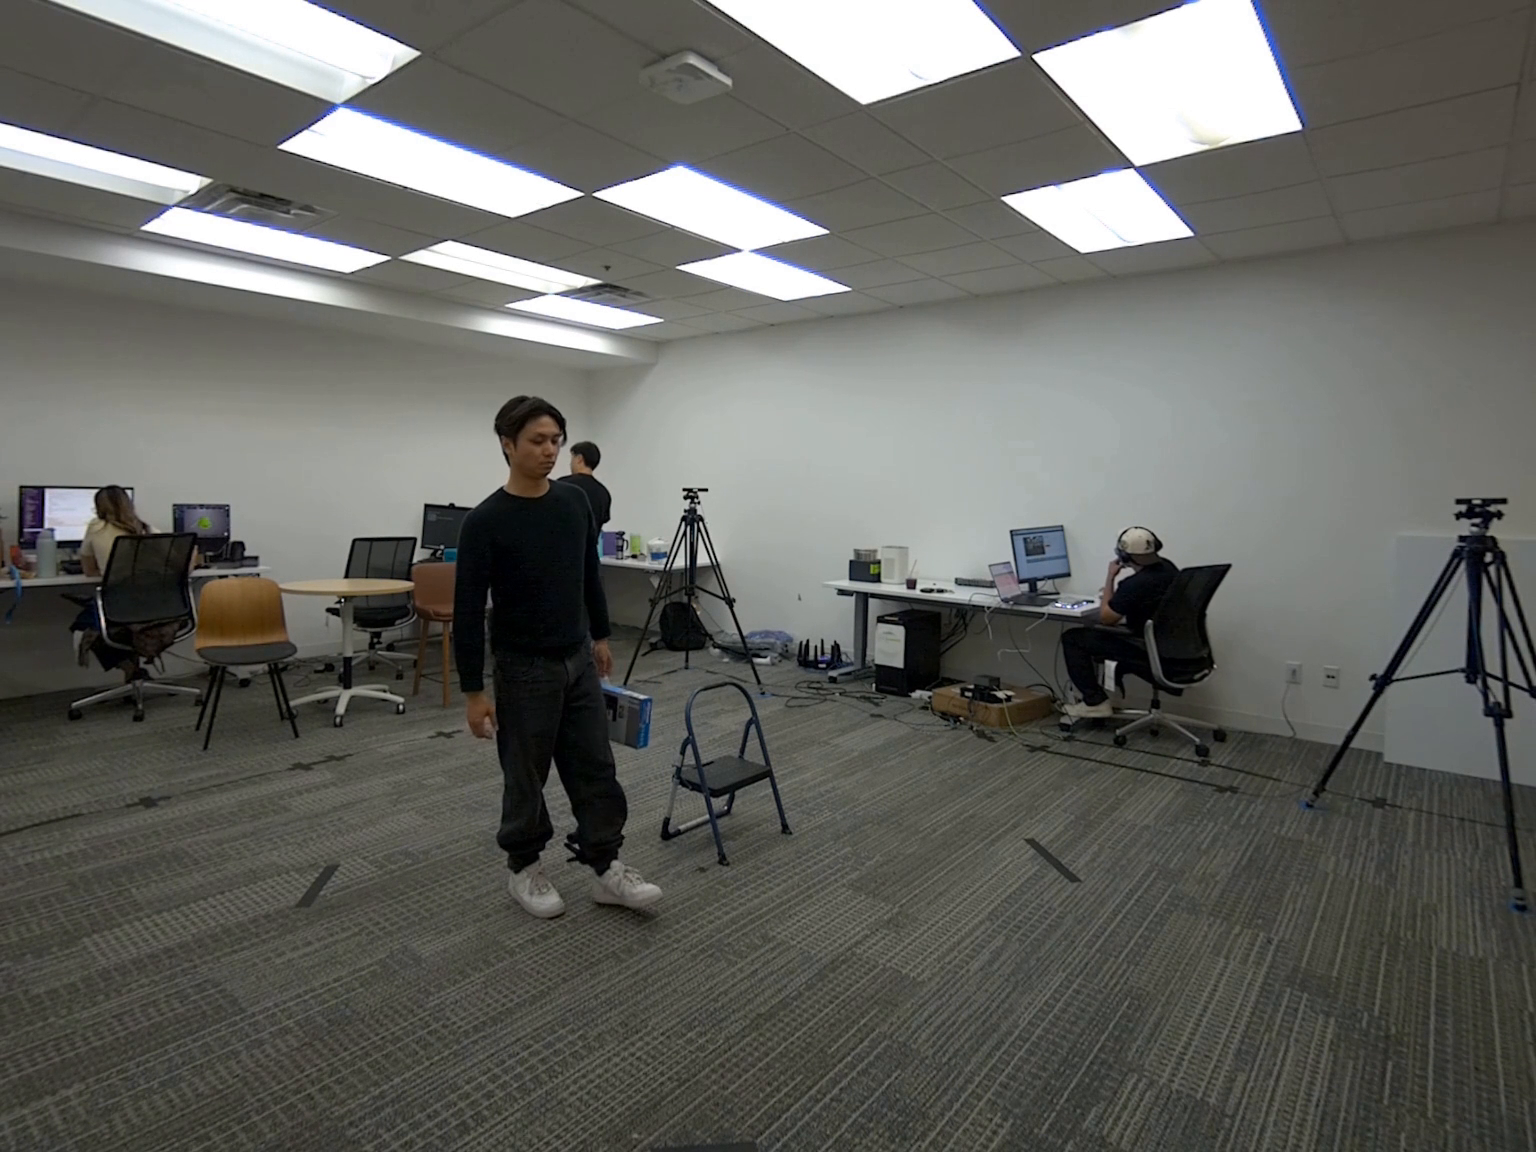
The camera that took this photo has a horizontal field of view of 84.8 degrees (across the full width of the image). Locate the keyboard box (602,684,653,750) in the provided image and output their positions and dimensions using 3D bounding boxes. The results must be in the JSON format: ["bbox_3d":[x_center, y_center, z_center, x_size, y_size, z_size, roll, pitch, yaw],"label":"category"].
[{"bbox_3d":[-0.607,0.467,2.993,0.451,0.175,0.057,9,4,33],"label":"keyboard box"}]
